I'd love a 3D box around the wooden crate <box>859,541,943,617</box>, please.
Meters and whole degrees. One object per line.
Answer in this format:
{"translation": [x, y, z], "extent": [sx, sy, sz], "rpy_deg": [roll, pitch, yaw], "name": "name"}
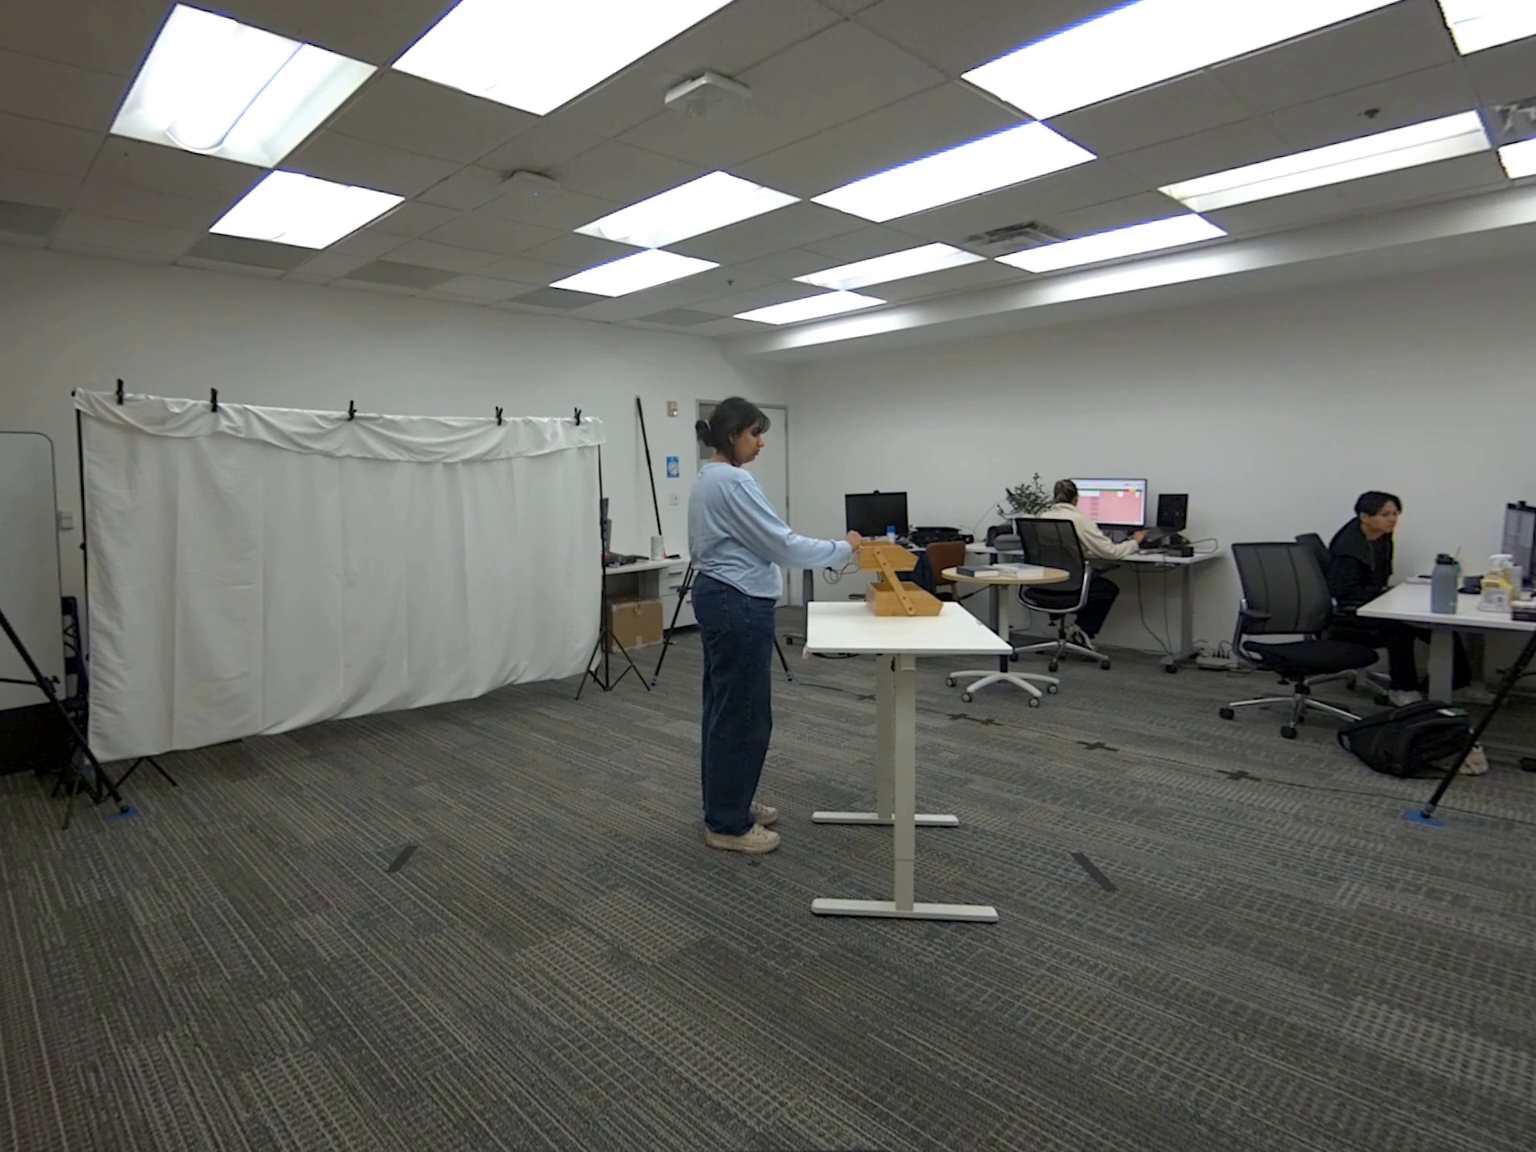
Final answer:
{"translation": [0.489, 0.000, 3.295], "extent": [0.303, 0.272, 0.325], "rpy_deg": [-2, 5, 1], "name": "wooden crate"}
